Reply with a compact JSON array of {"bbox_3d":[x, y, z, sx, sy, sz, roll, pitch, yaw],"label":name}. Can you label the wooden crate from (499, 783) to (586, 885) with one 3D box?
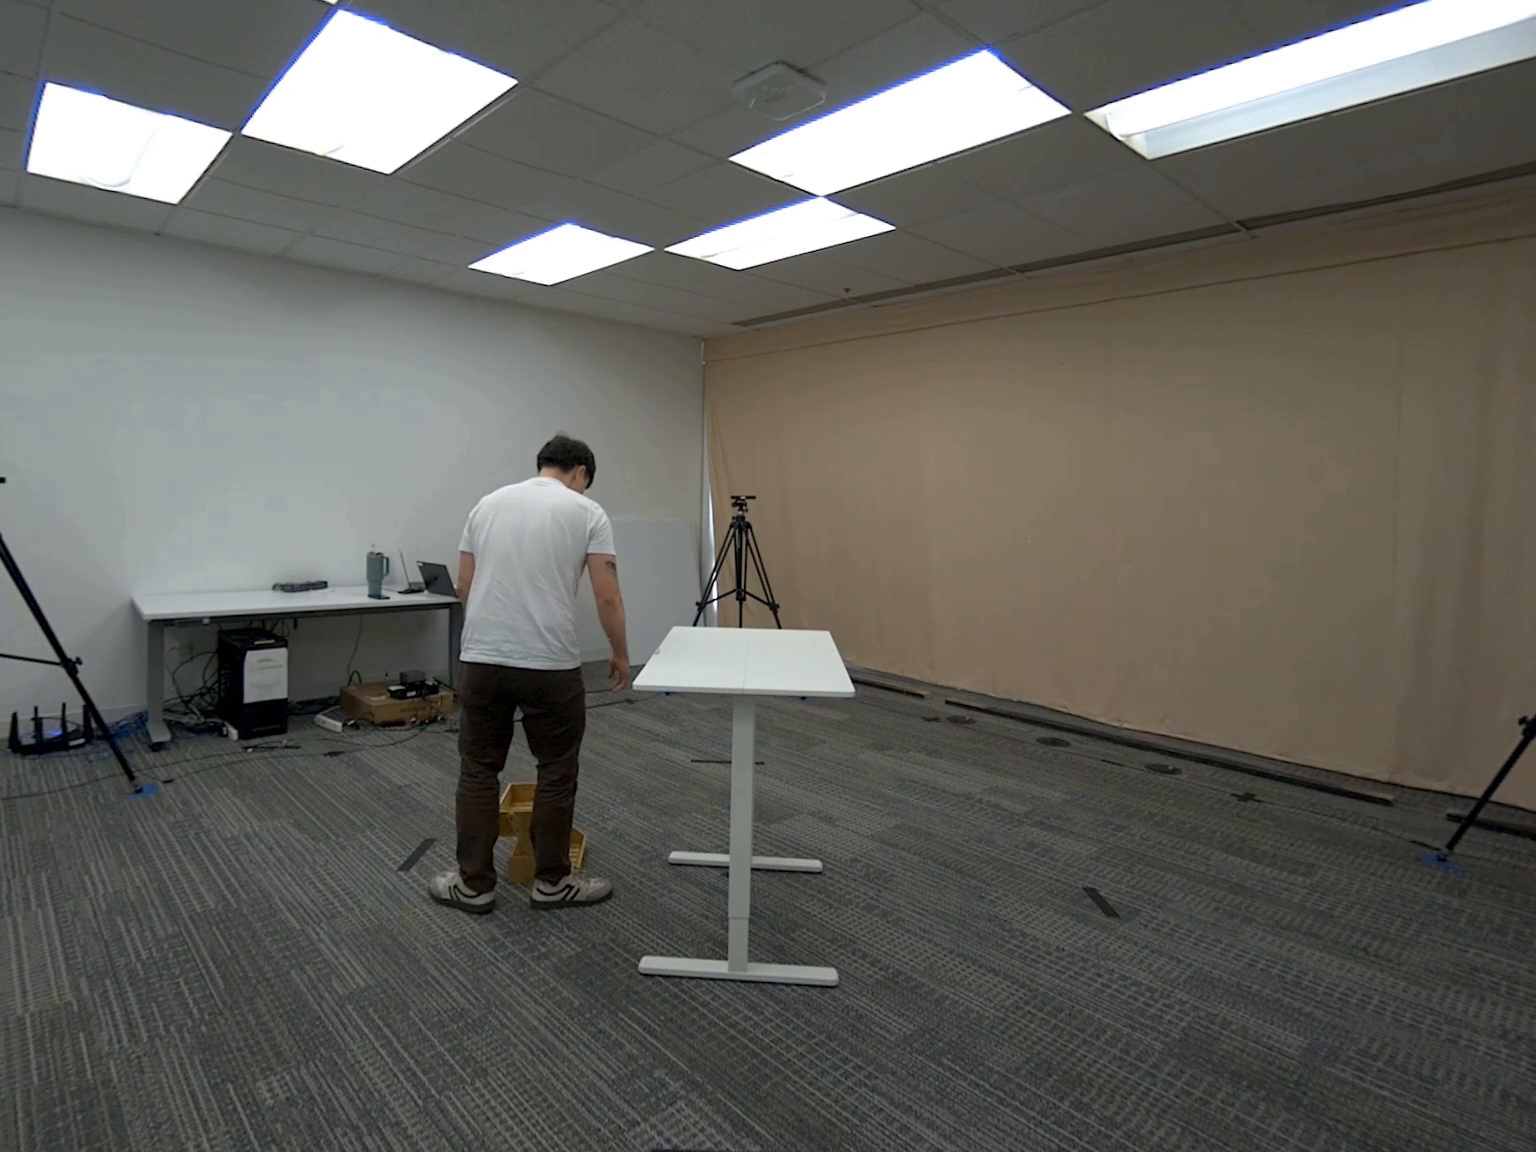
[{"bbox_3d":[-0.843,0.946,3.146,0.301,0.272,0.327,1,4,-6],"label":"wooden crate"}]
